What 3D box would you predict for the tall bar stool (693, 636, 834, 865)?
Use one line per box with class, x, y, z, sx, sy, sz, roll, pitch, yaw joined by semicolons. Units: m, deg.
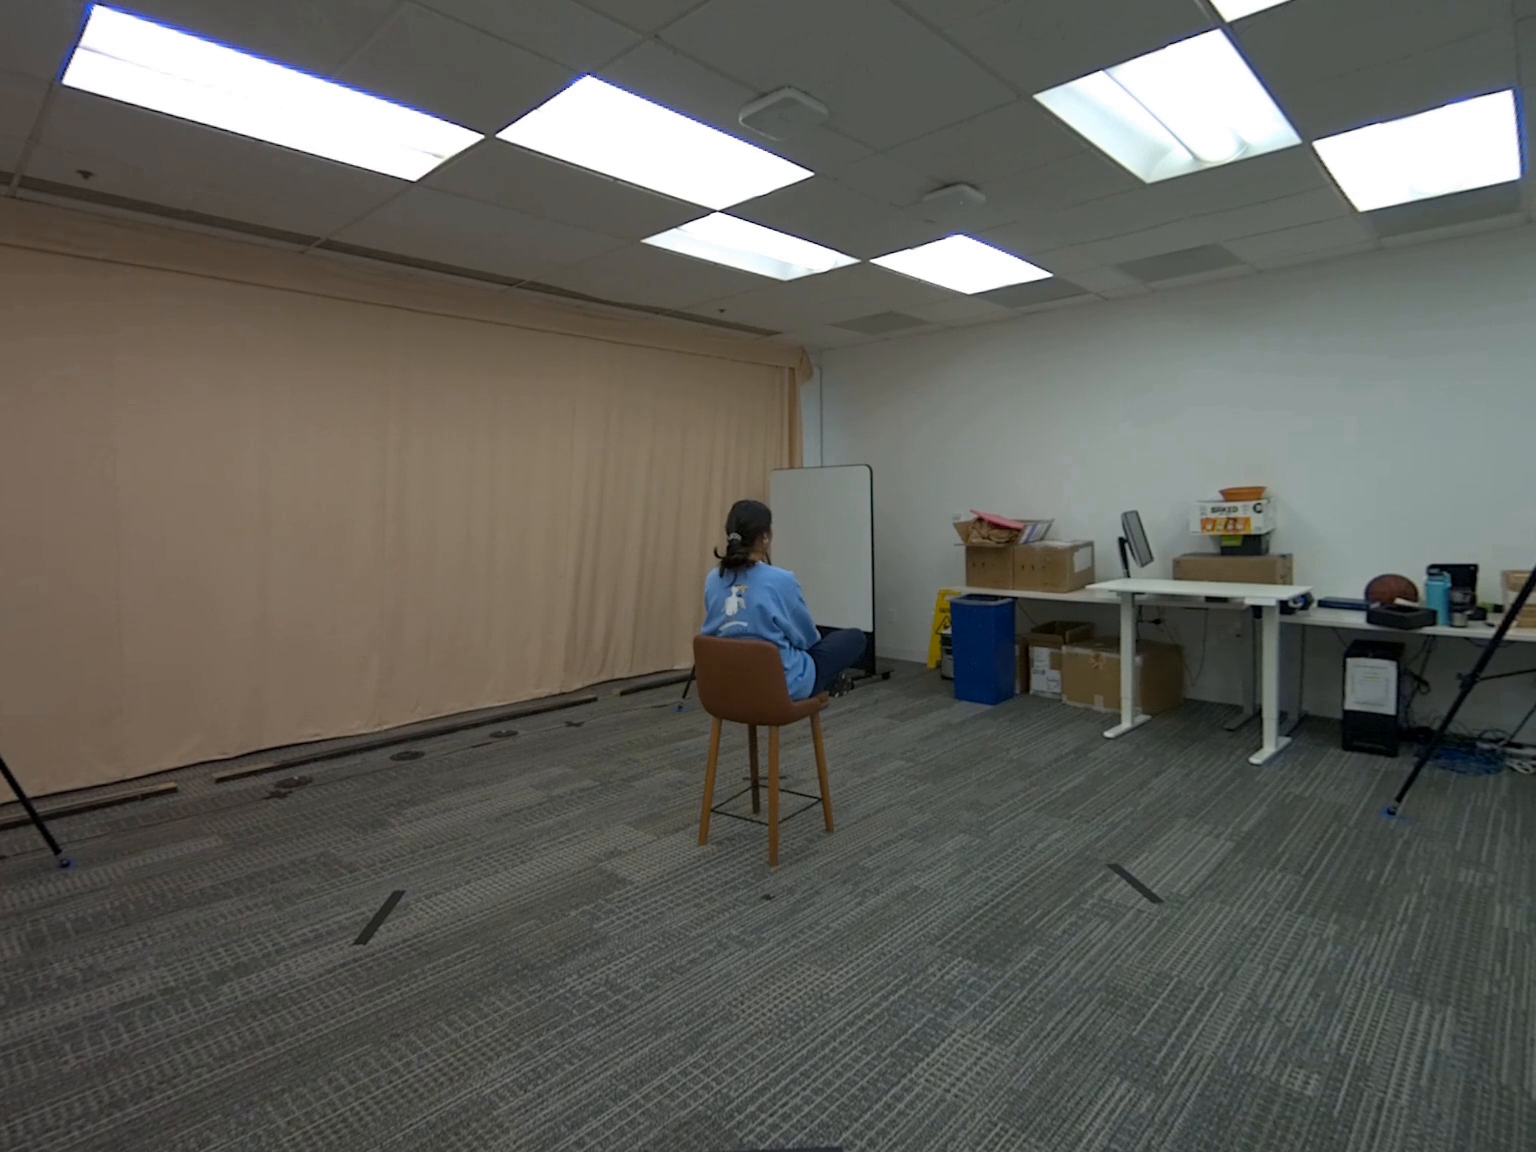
tall bar stool;-0.020;0.661;3.497;0.471;0.887;0.454;1;5;35
